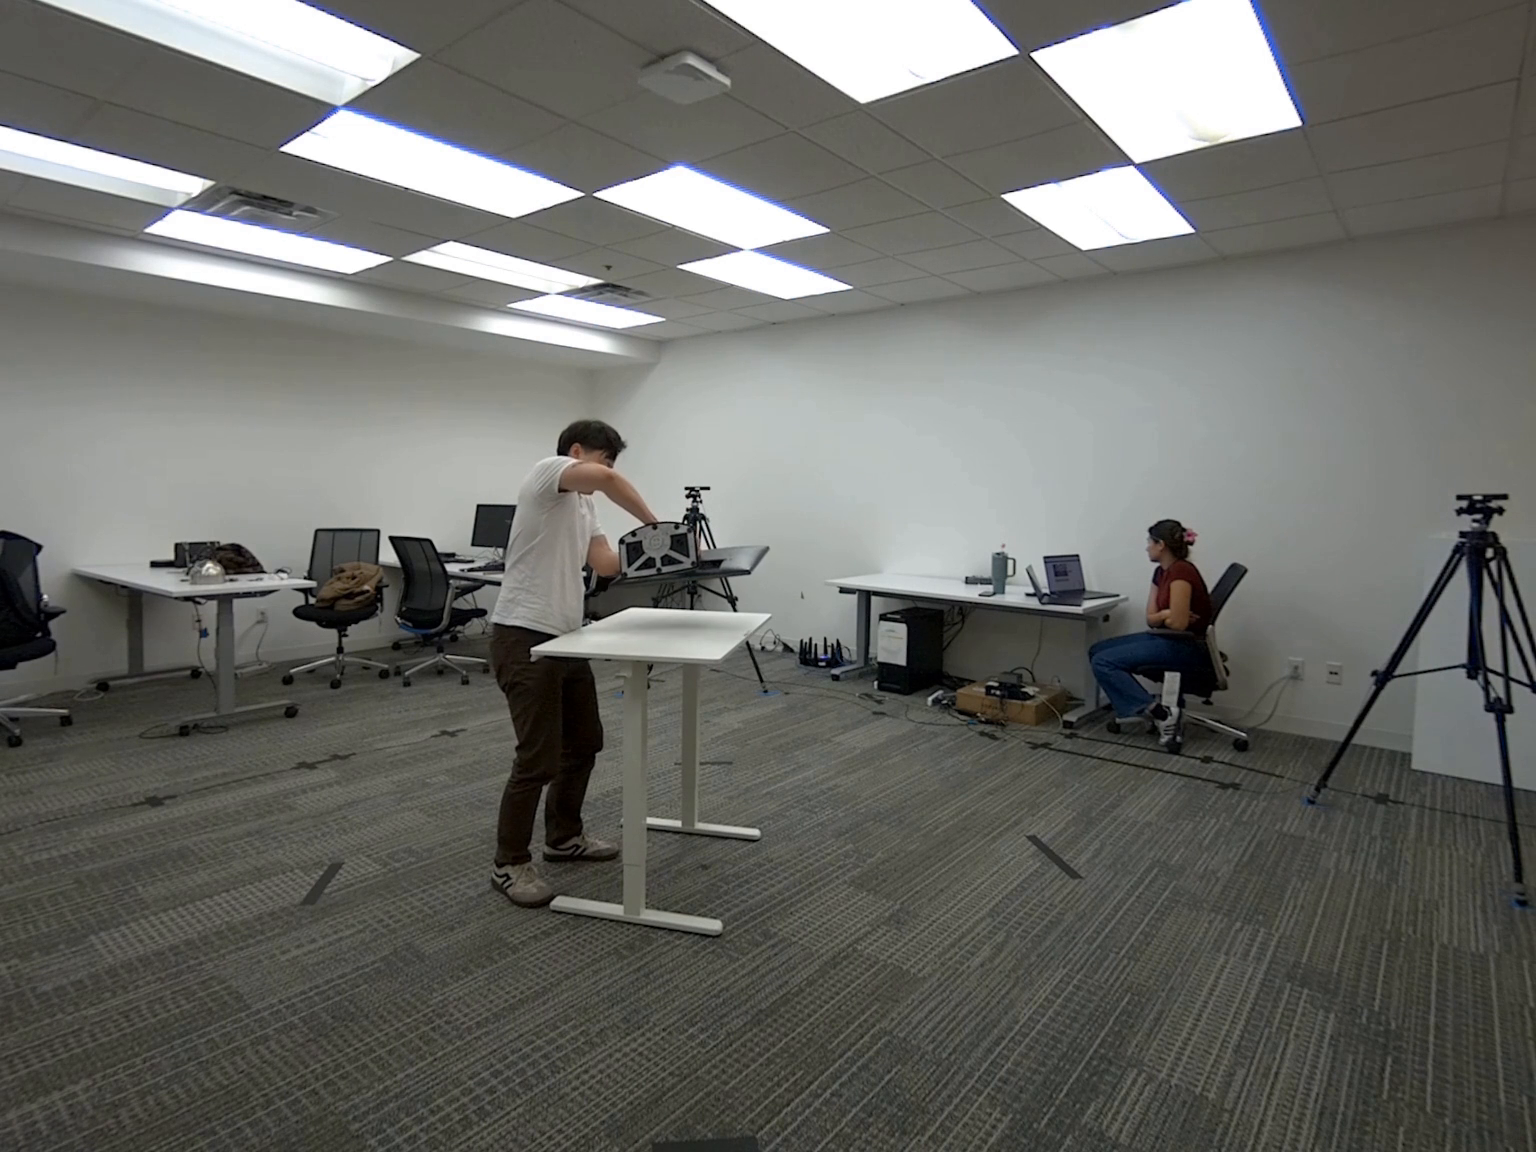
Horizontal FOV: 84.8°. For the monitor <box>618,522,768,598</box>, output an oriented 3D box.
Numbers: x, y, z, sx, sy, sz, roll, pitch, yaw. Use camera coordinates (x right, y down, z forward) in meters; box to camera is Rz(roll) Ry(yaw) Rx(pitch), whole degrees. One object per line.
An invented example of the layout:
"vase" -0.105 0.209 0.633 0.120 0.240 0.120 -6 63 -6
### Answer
"monitor" -0.324 -0.075 3.082 0.547 0.188 0.511 -5 -5 16
